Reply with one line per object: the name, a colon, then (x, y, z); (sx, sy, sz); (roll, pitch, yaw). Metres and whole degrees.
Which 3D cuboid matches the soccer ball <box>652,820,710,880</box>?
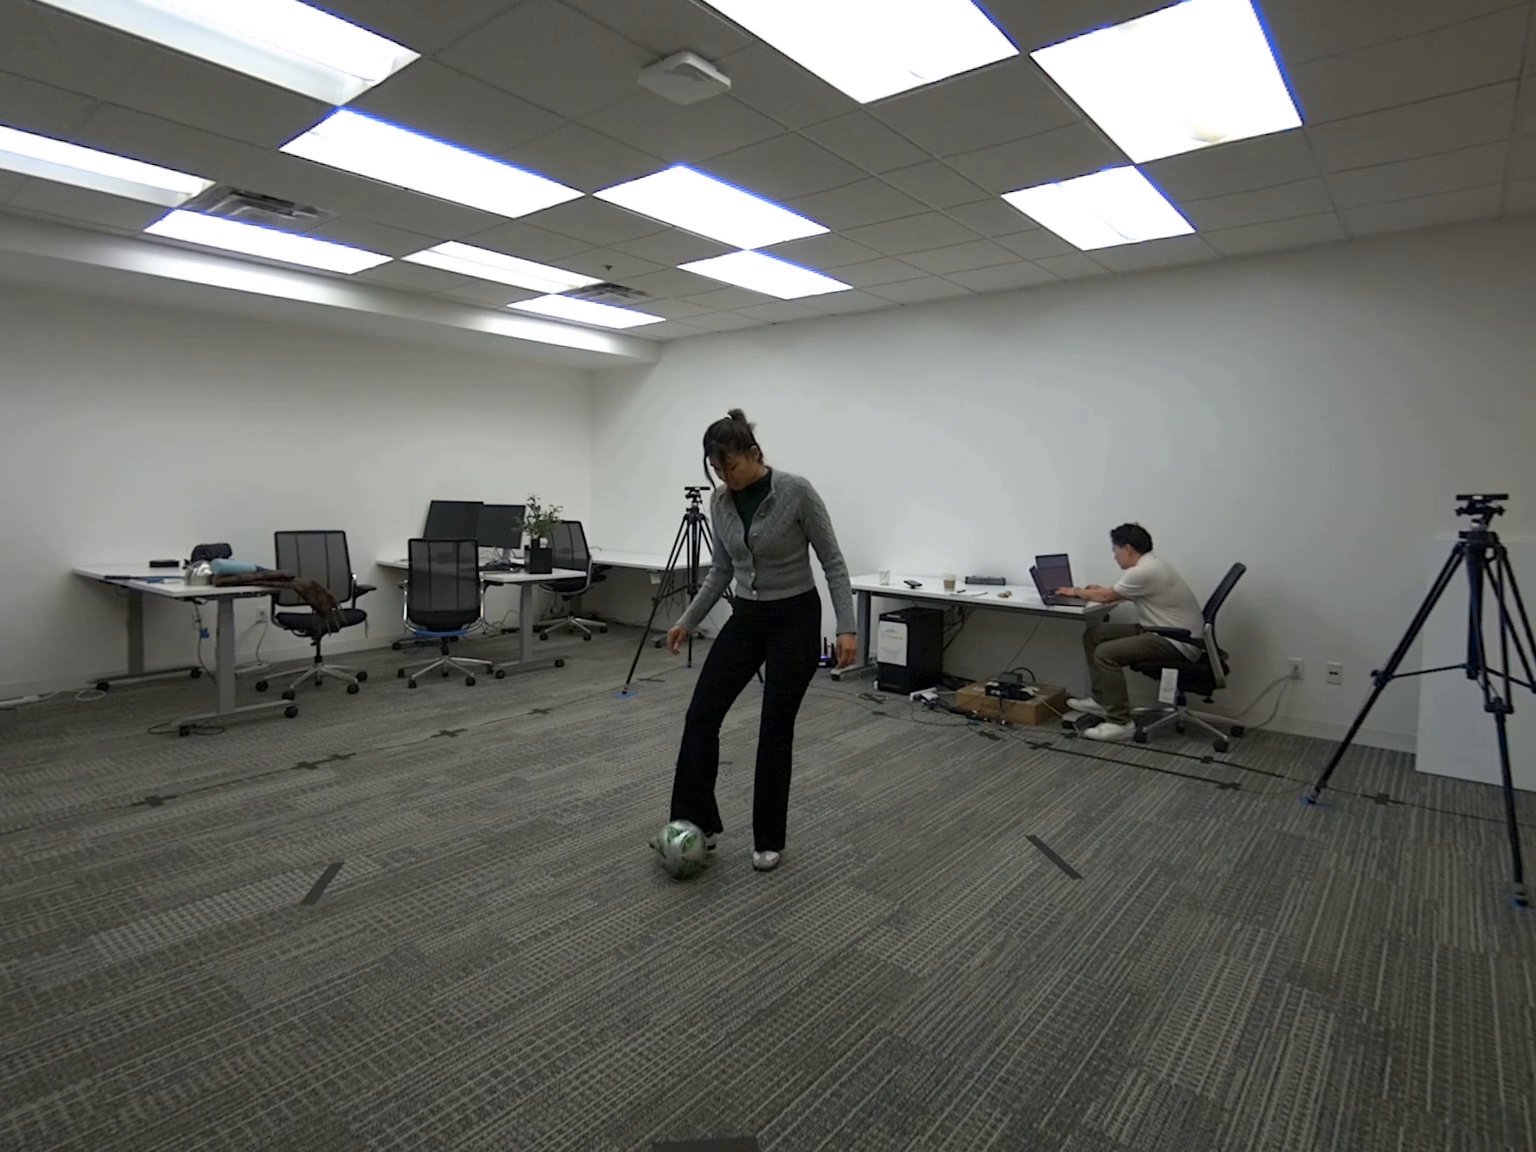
soccer ball: (-0.313, 0.974, 3.024); (0.187, 0.187, 0.188); (1, 4, -2)
